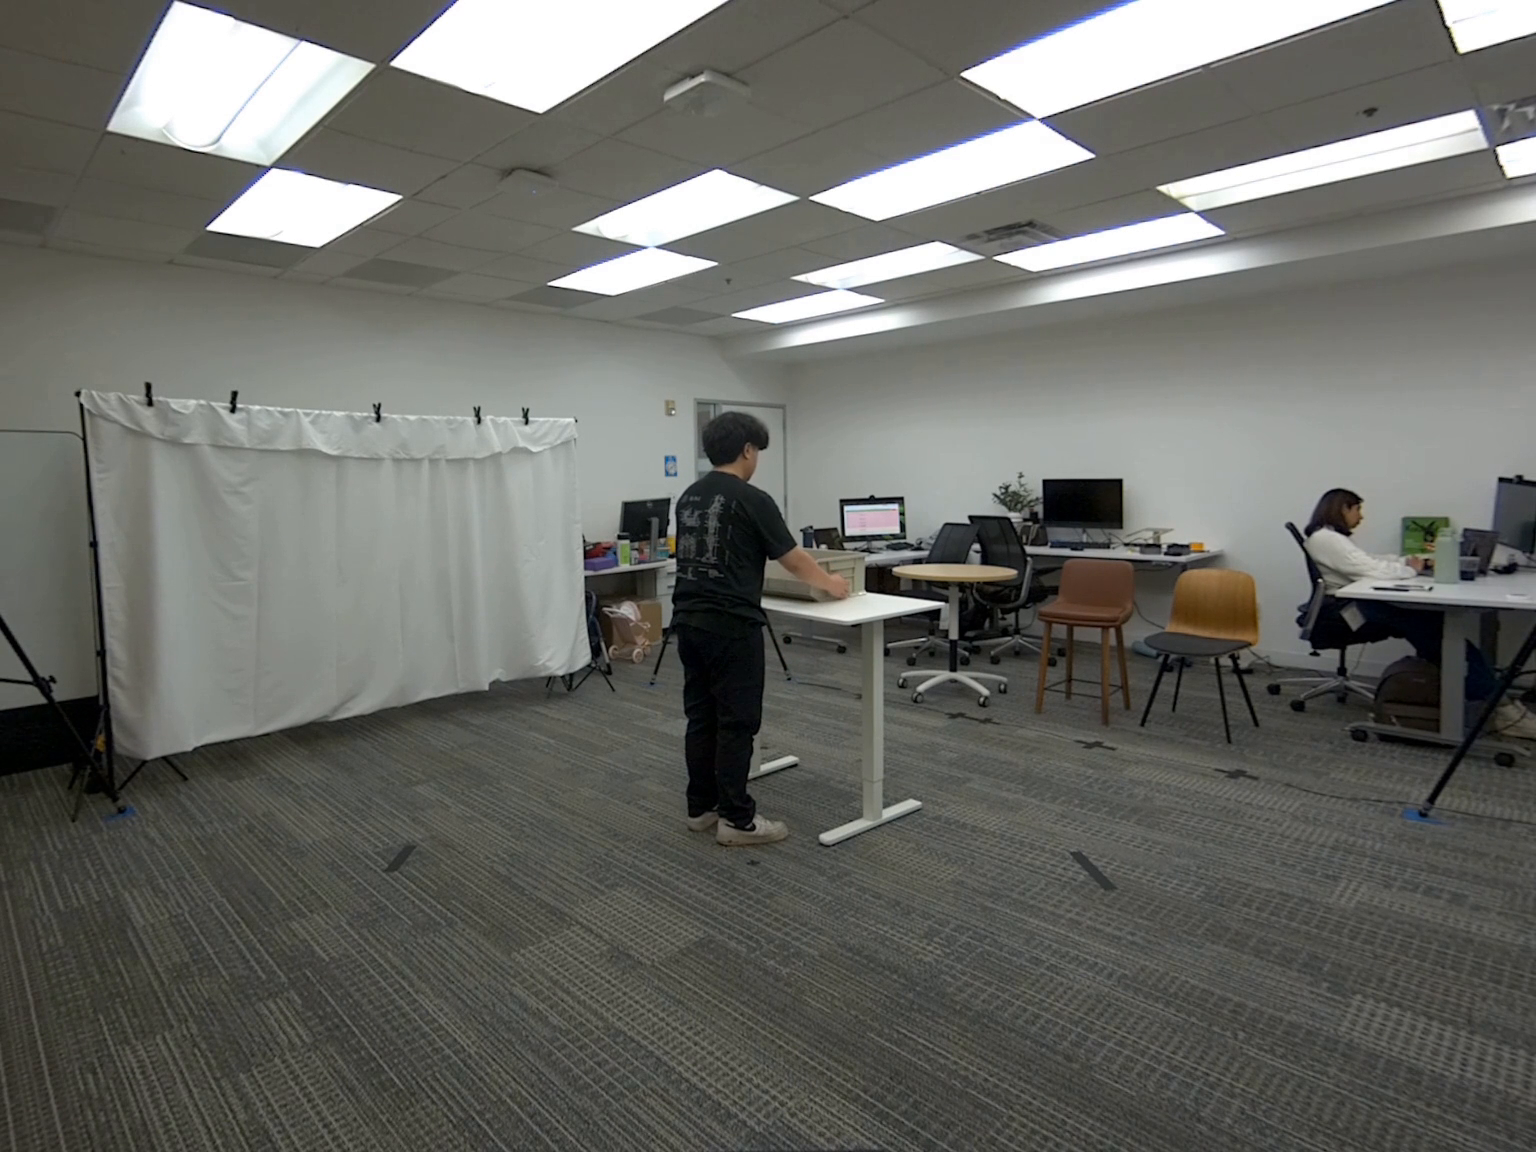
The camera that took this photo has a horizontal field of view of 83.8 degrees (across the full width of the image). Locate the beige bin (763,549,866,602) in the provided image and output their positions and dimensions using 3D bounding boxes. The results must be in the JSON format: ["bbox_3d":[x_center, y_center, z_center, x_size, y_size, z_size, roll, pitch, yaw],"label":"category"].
[{"bbox_3d":[0.173,-0.001,3.760,0.367,0.188,0.435,-6,8,-41],"label":"beige bin"}]
